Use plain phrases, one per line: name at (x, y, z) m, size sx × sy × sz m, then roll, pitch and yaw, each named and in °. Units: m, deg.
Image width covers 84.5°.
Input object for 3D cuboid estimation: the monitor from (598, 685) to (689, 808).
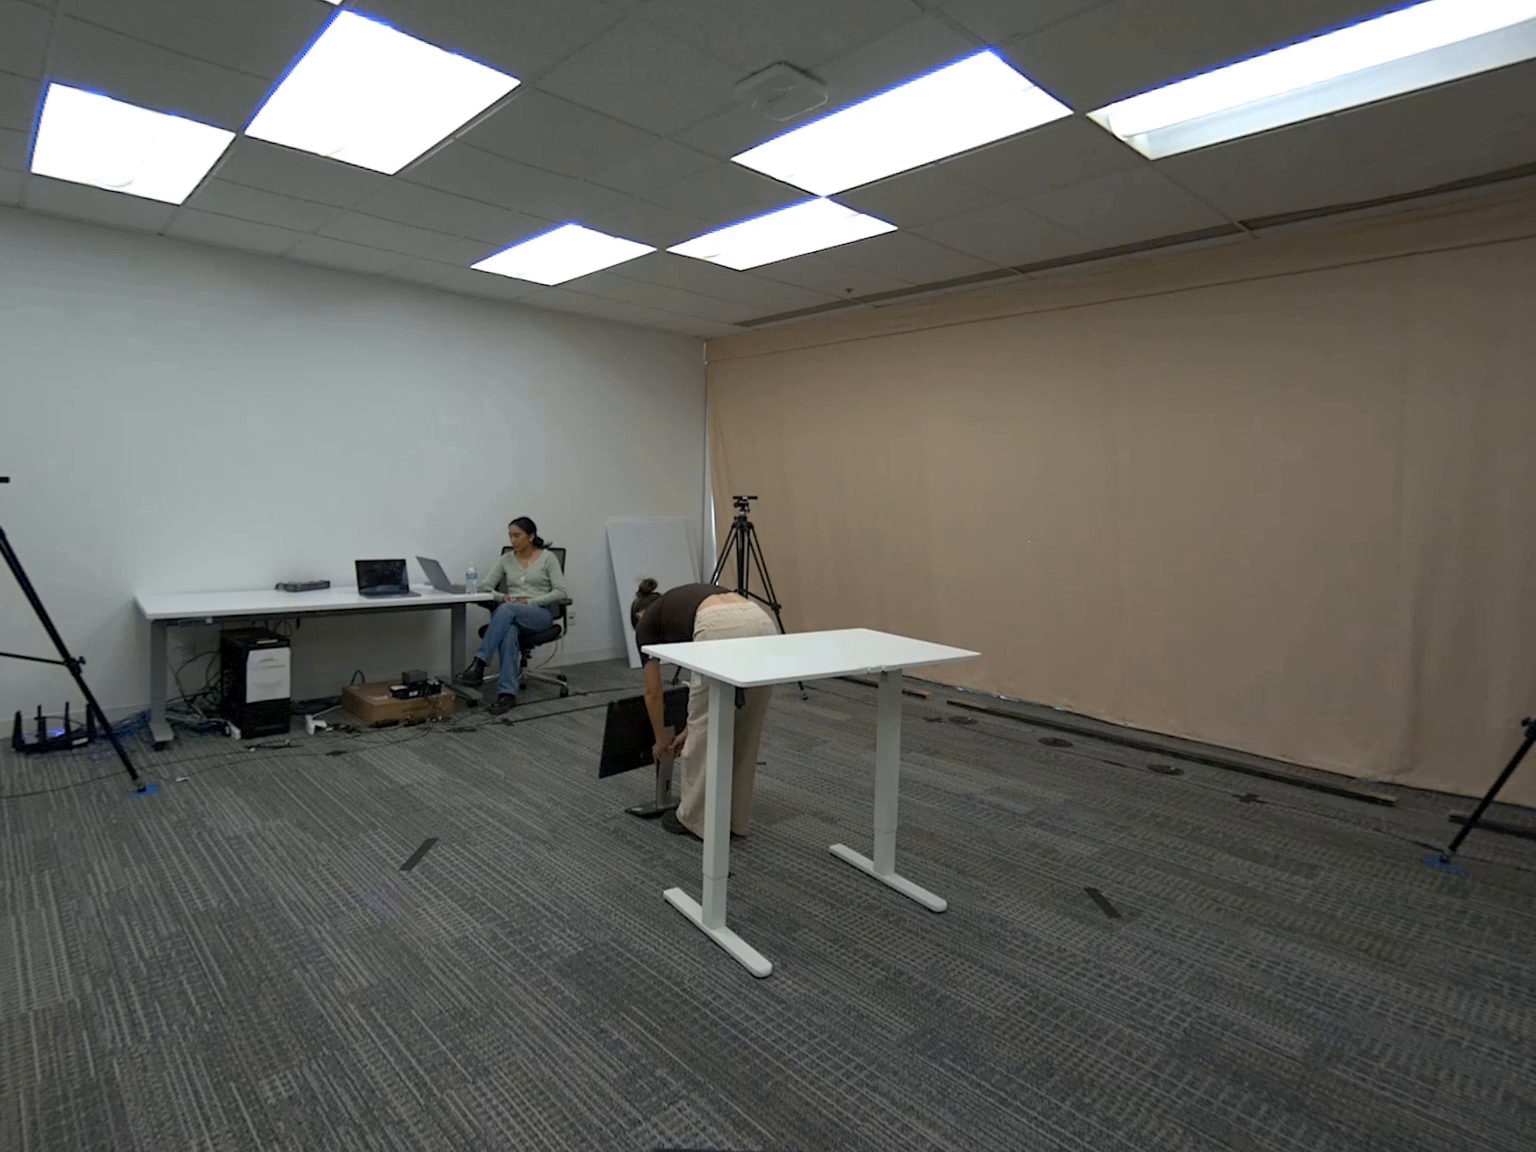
monitor at (-0.492, 0.776, 3.737) m, size 0.191 × 0.522 × 0.527 m, roll -1°, pitch 2°, yaw 43°
